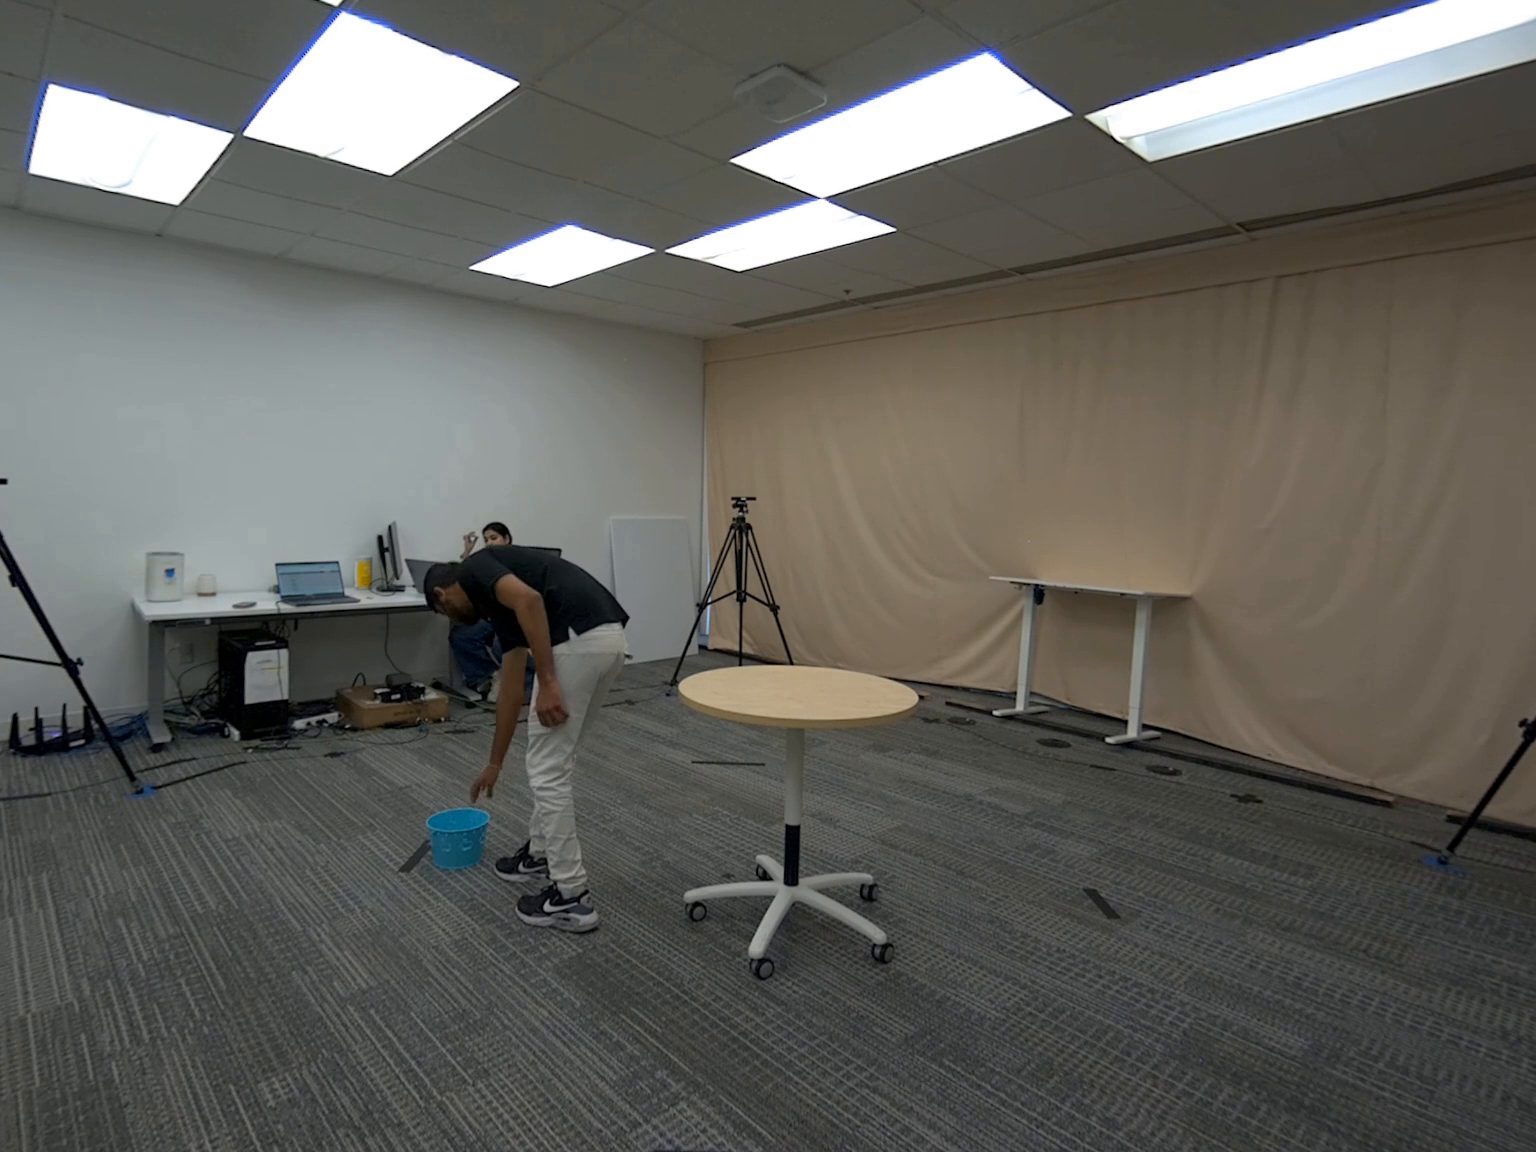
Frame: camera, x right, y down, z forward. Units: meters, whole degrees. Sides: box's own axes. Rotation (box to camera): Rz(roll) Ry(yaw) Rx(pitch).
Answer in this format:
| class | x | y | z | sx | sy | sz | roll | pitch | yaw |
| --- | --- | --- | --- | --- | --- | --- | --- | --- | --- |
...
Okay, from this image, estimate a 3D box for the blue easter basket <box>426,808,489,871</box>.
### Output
| class | x | y | z | sx | sy | sz | roll | pitch | yaw |
| --- | --- | --- | --- | --- | --- | --- | --- | --- | --- |
| blue easter basket | -1.185 | 1.000 | 3.205 | 0.243 | 0.155 | 0.244 | 2 | 5 | -1 |
